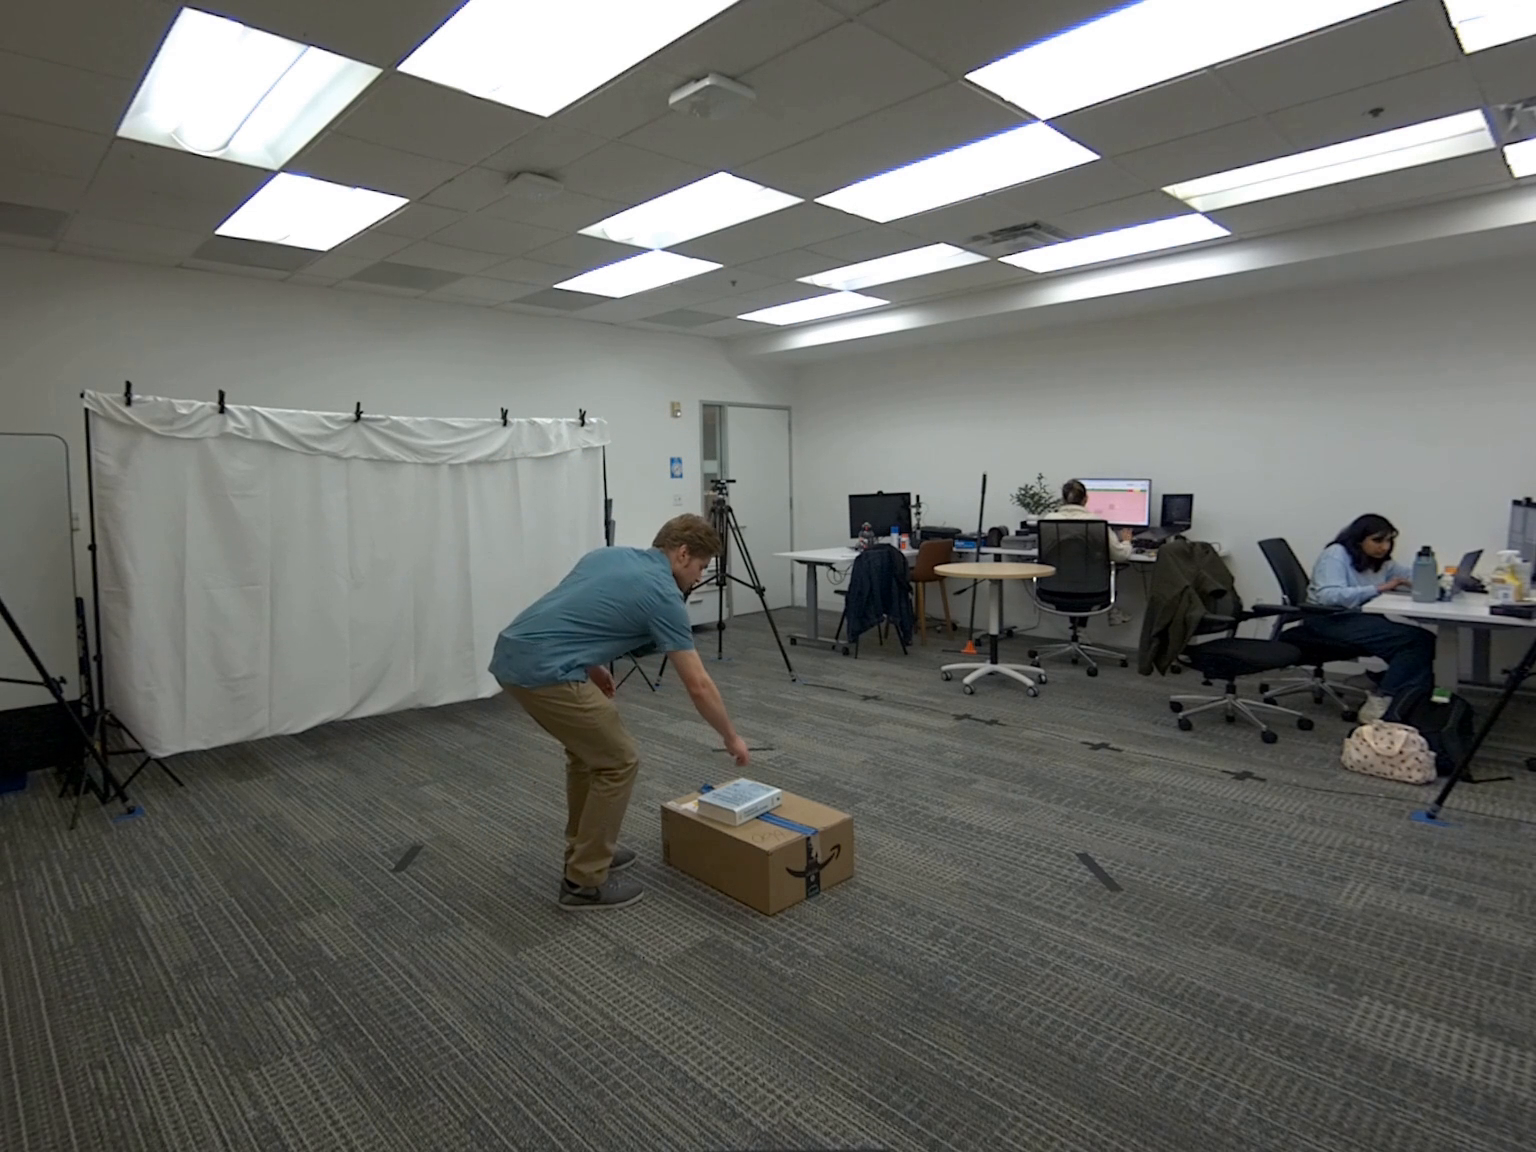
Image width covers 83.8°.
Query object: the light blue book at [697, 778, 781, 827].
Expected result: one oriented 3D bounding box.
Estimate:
[{"bbox_3d":[-0.103,0.806,3.084,0.197,0.059,0.254,5,8,39],"label":"light blue book"}]
